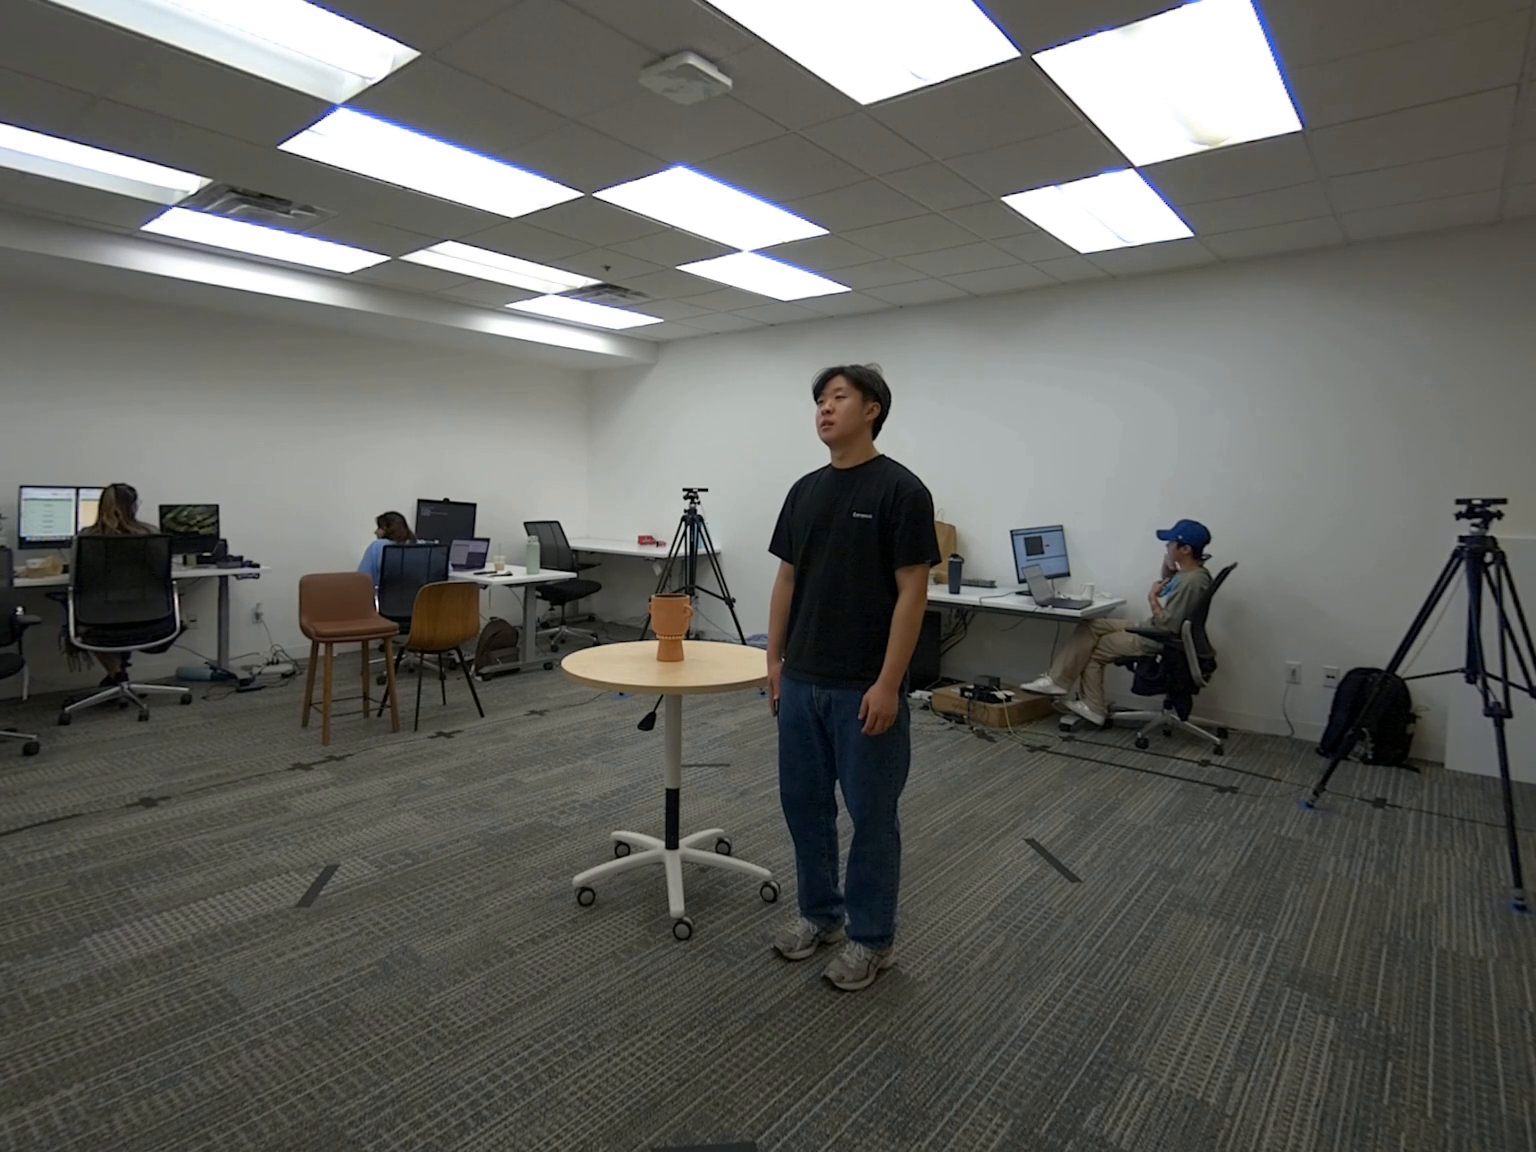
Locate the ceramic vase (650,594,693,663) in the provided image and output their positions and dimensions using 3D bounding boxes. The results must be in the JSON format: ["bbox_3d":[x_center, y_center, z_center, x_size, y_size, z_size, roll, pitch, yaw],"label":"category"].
[{"bbox_3d":[-0.350,0.178,2.943,0.132,0.219,0.162,0,4,-17],"label":"ceramic vase"}]
